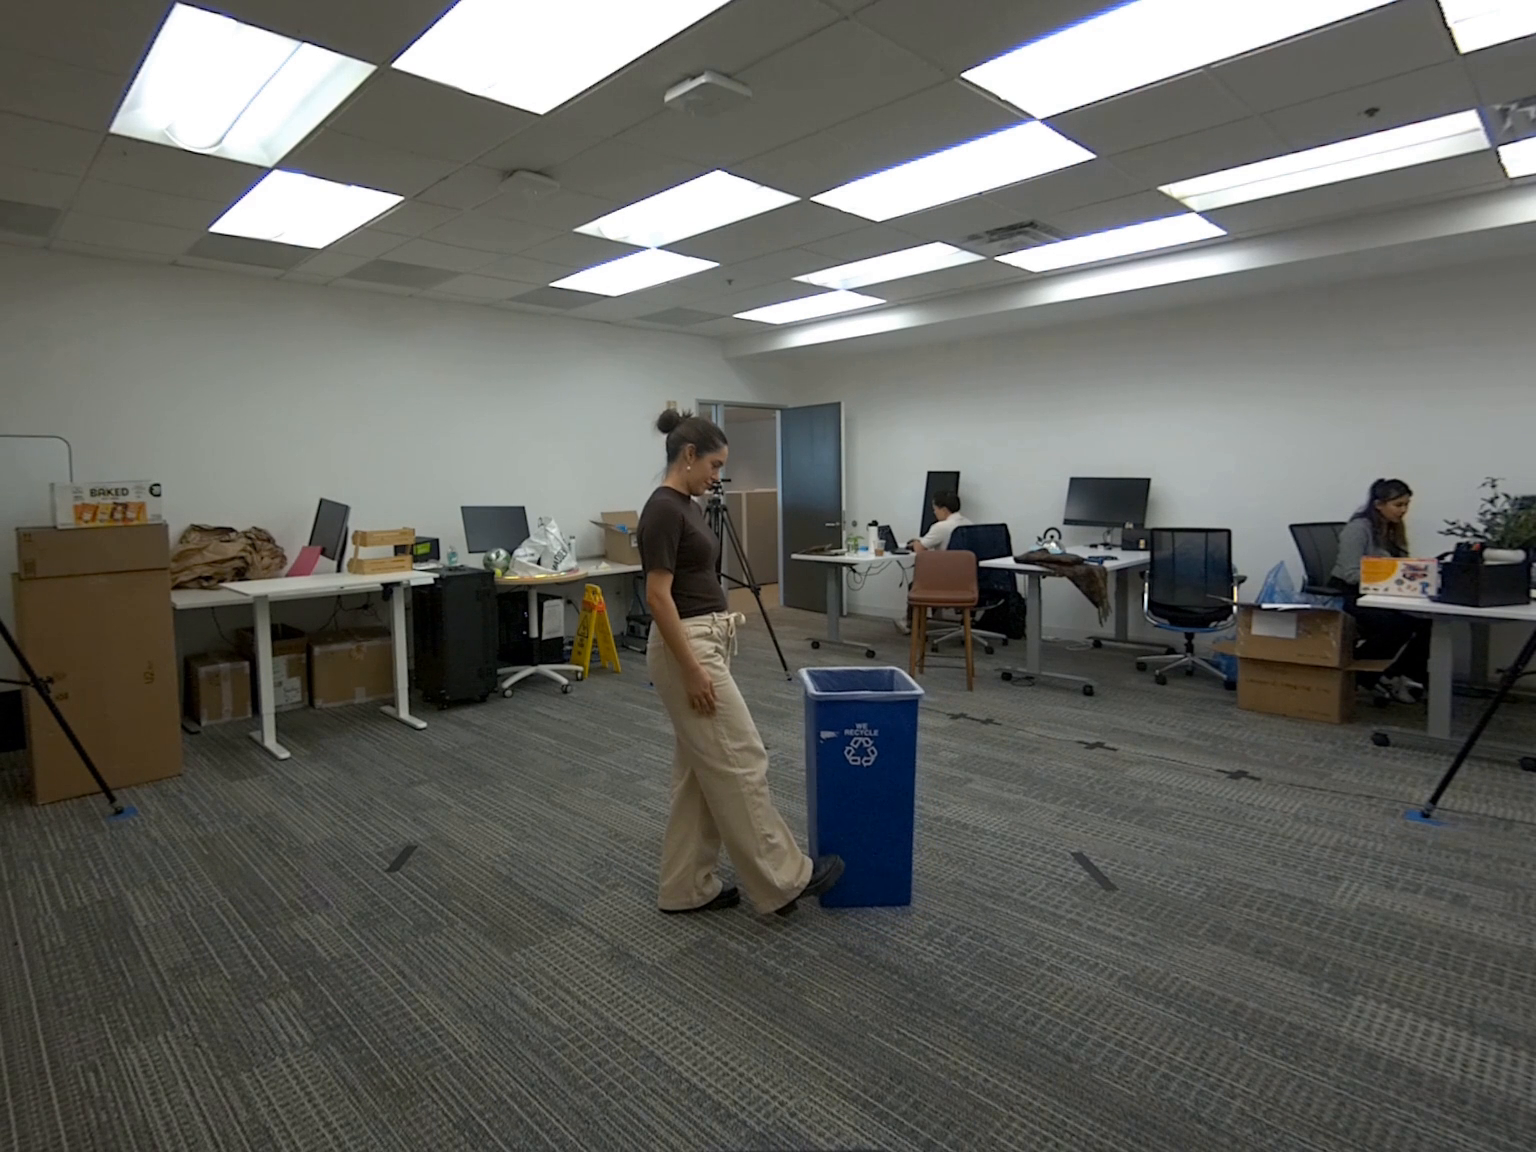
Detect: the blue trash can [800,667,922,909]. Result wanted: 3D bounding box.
[{"bbox_3d":[0.314,0.702,2.898,0.377,0.711,0.376,-1,4,-2],"label":"blue trash can"}]
